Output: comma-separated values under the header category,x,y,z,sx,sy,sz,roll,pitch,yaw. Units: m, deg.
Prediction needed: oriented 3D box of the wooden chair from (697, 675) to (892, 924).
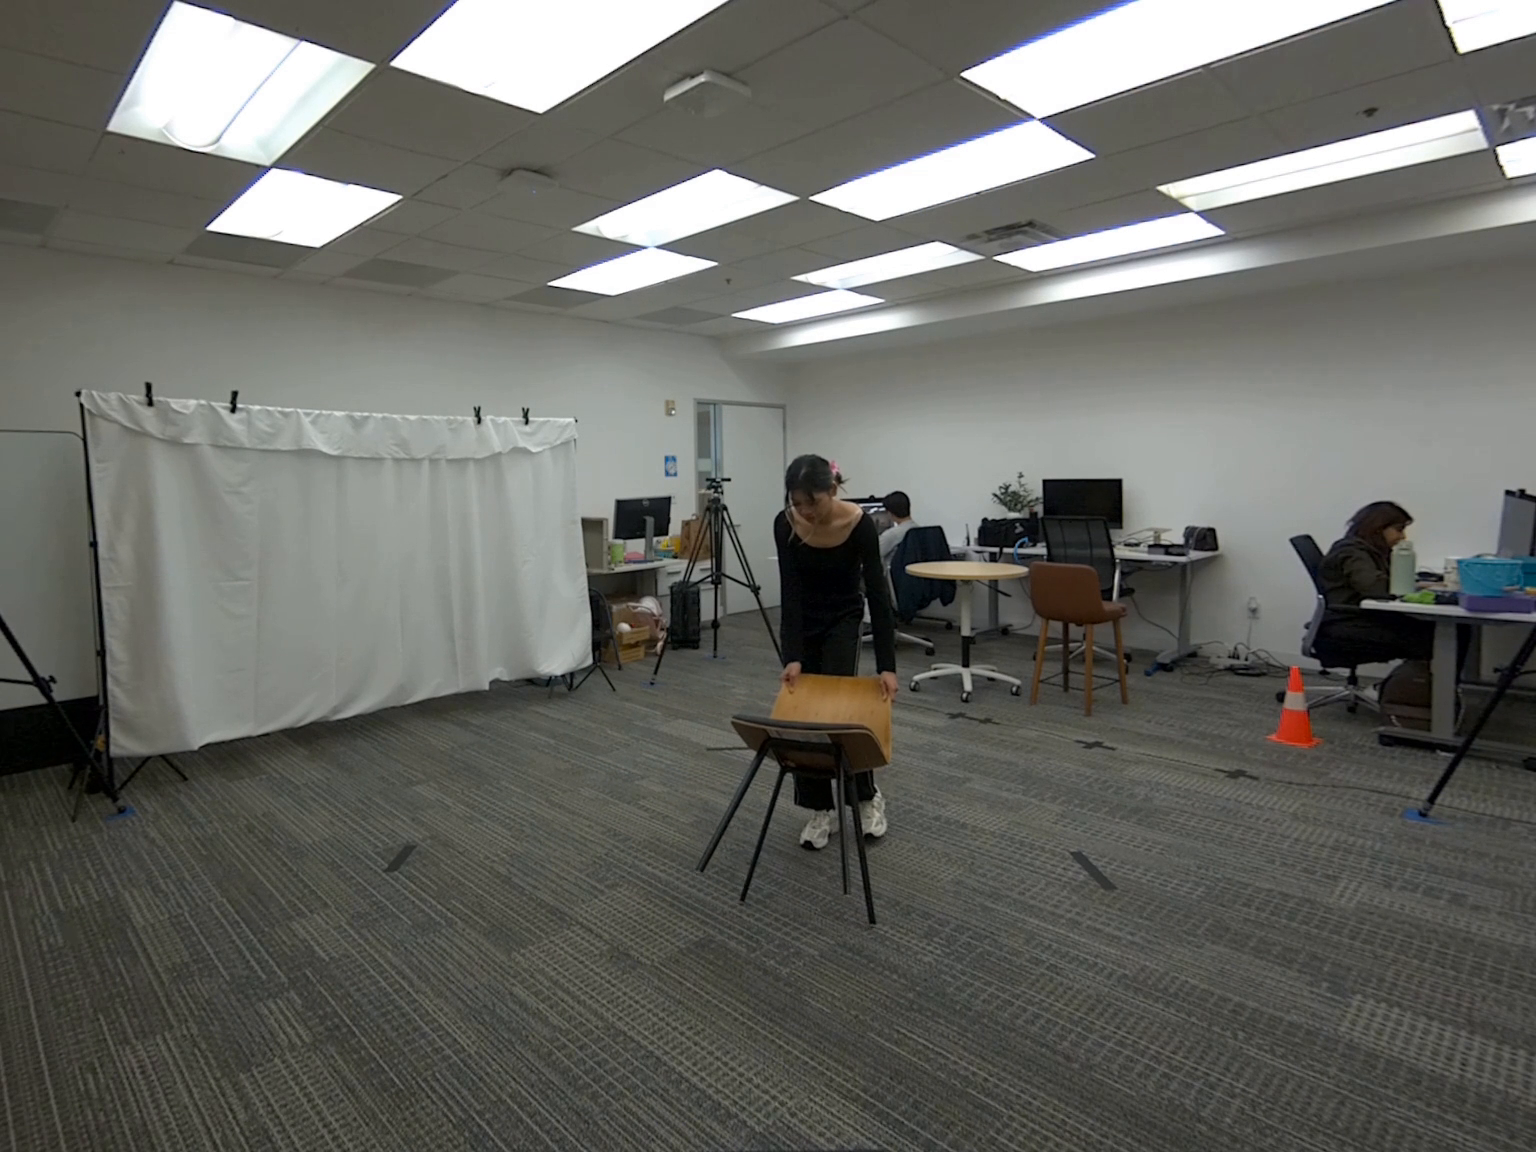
category,x,y,z,sx,sy,sz,roll,pitch,yaw
wooden chair,0.134,0.595,2.761,0.488,0.892,0.504,0,-36,21
